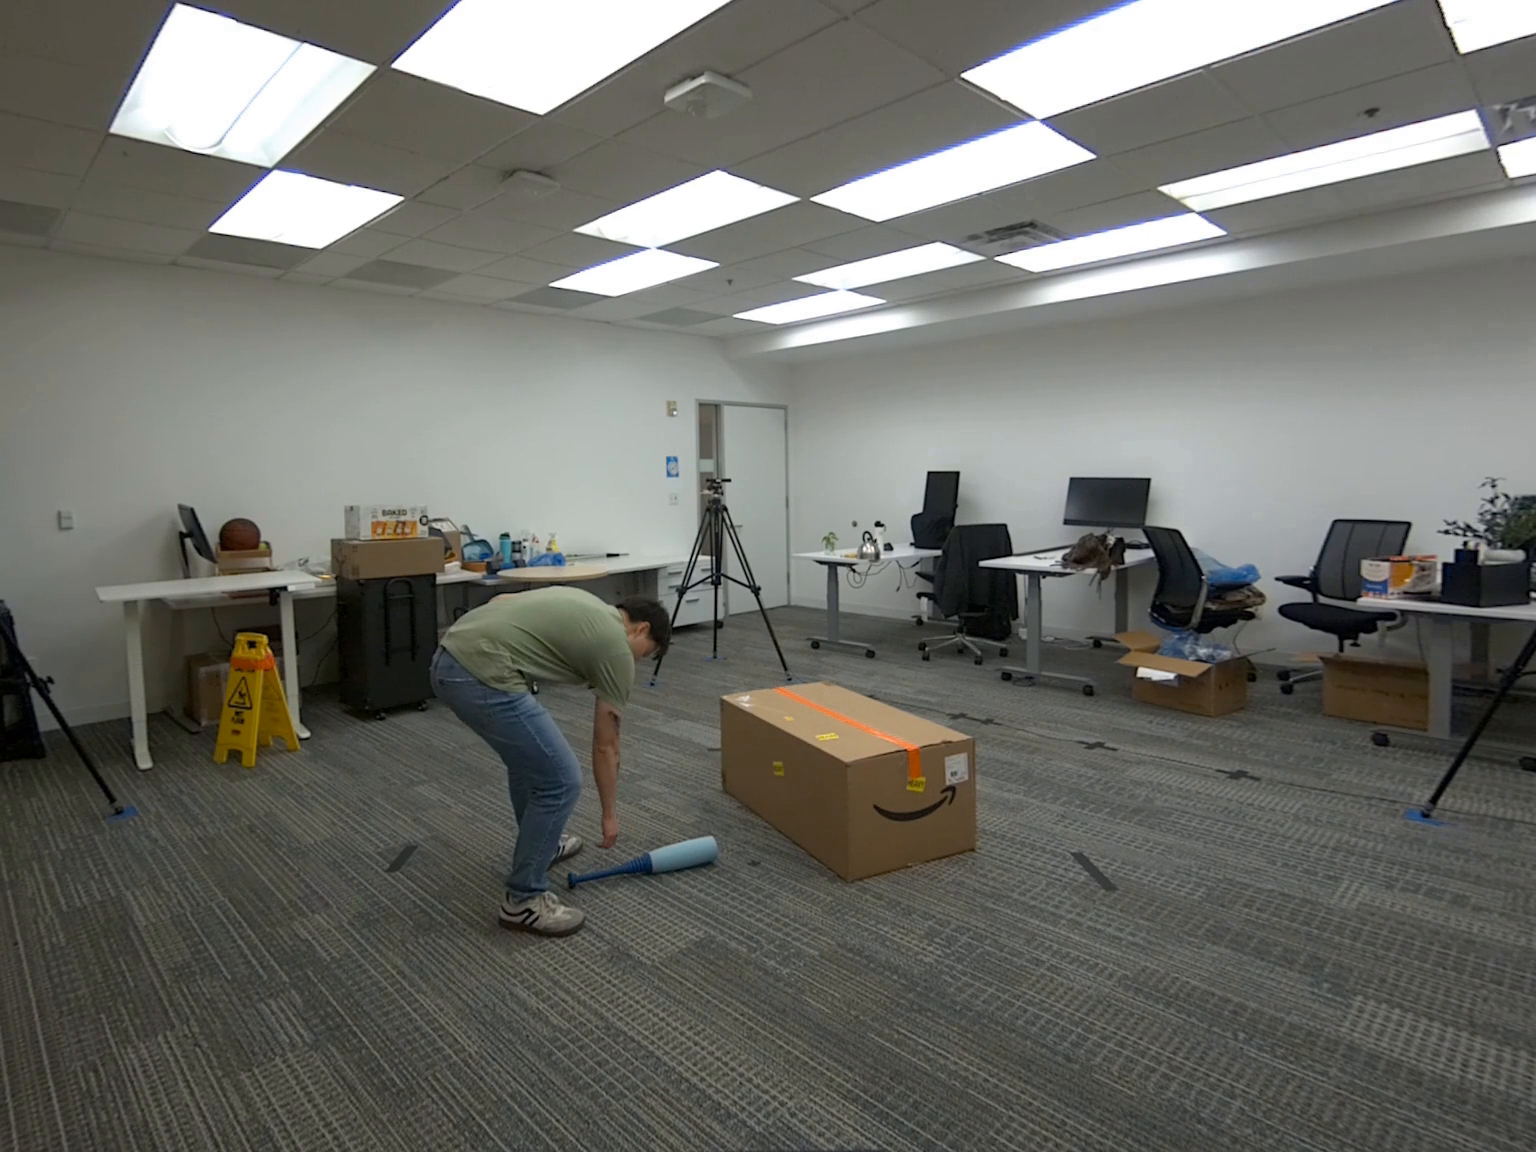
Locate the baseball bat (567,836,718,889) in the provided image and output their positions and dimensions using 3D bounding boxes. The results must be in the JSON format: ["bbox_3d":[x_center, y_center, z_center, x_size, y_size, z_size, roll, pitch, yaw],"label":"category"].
[{"bbox_3d":[-0.440,1.022,3.022,0.534,0.088,0.091,-6,6,-19],"label":"baseball bat"}]
